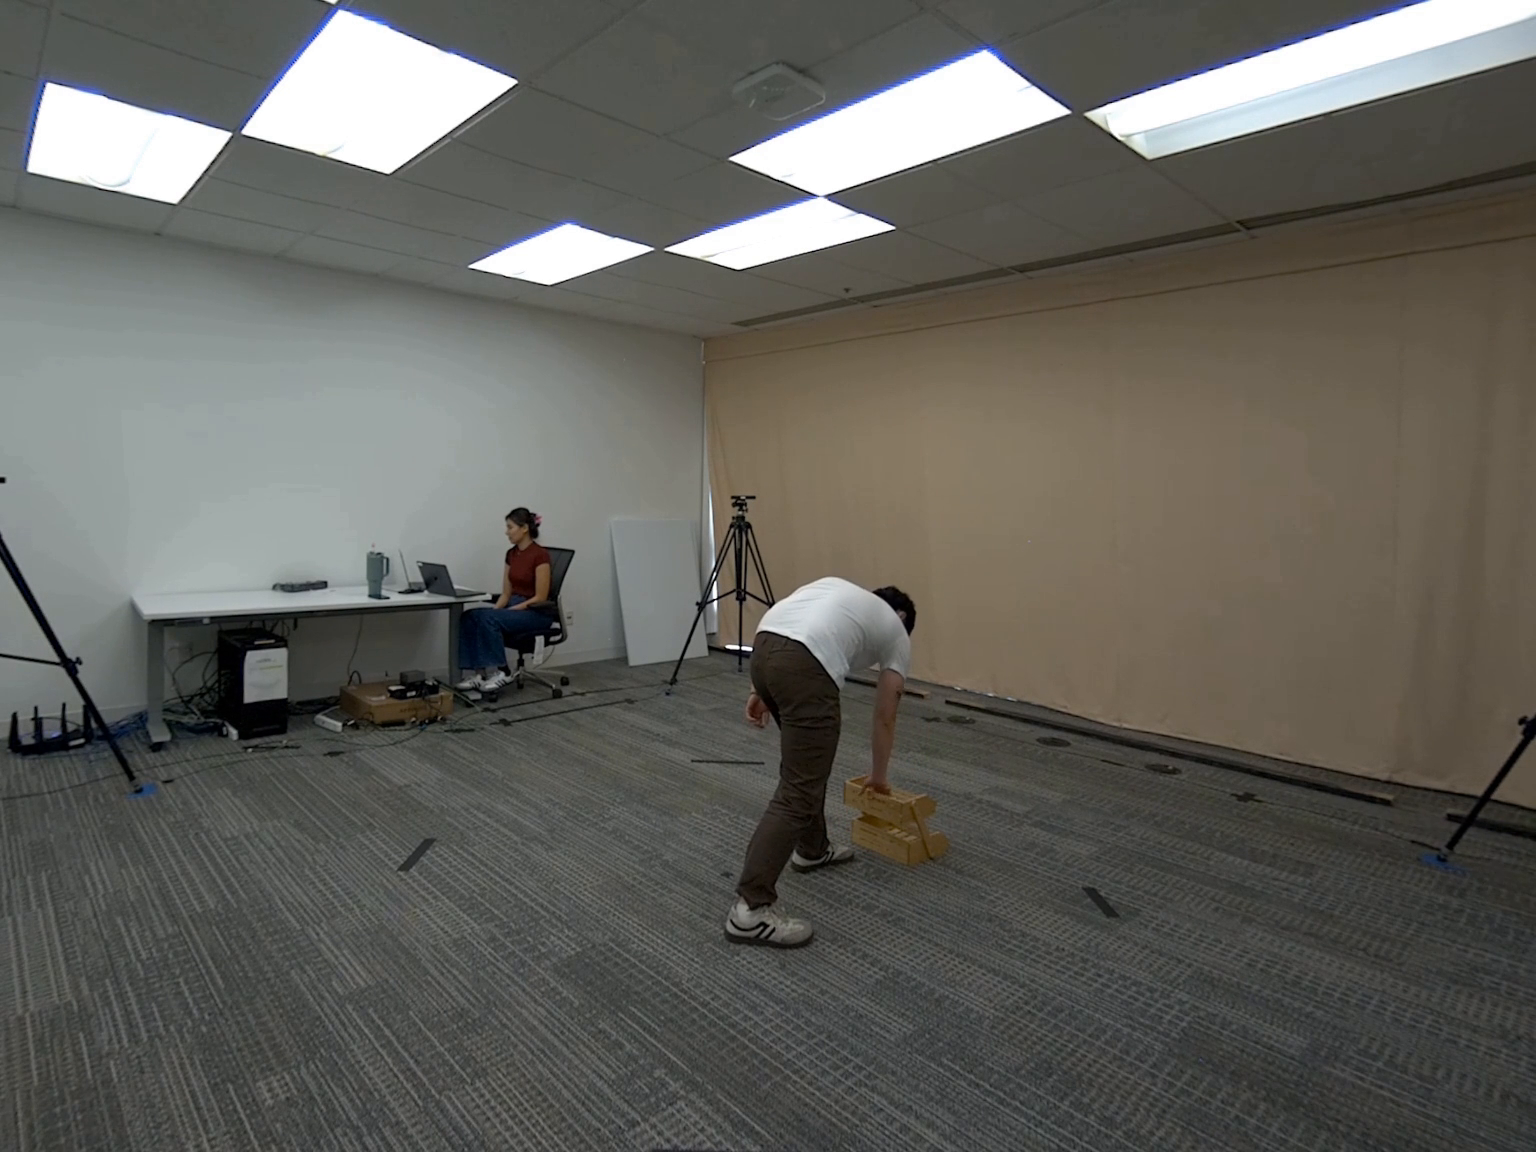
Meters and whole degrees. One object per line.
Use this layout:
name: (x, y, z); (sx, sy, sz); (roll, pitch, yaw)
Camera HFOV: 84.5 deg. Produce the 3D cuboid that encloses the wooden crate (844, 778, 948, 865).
wooden crate: (0.512, 0.961, 3.381); (0.295, 0.272, 0.333); (-3, 6, -41)
